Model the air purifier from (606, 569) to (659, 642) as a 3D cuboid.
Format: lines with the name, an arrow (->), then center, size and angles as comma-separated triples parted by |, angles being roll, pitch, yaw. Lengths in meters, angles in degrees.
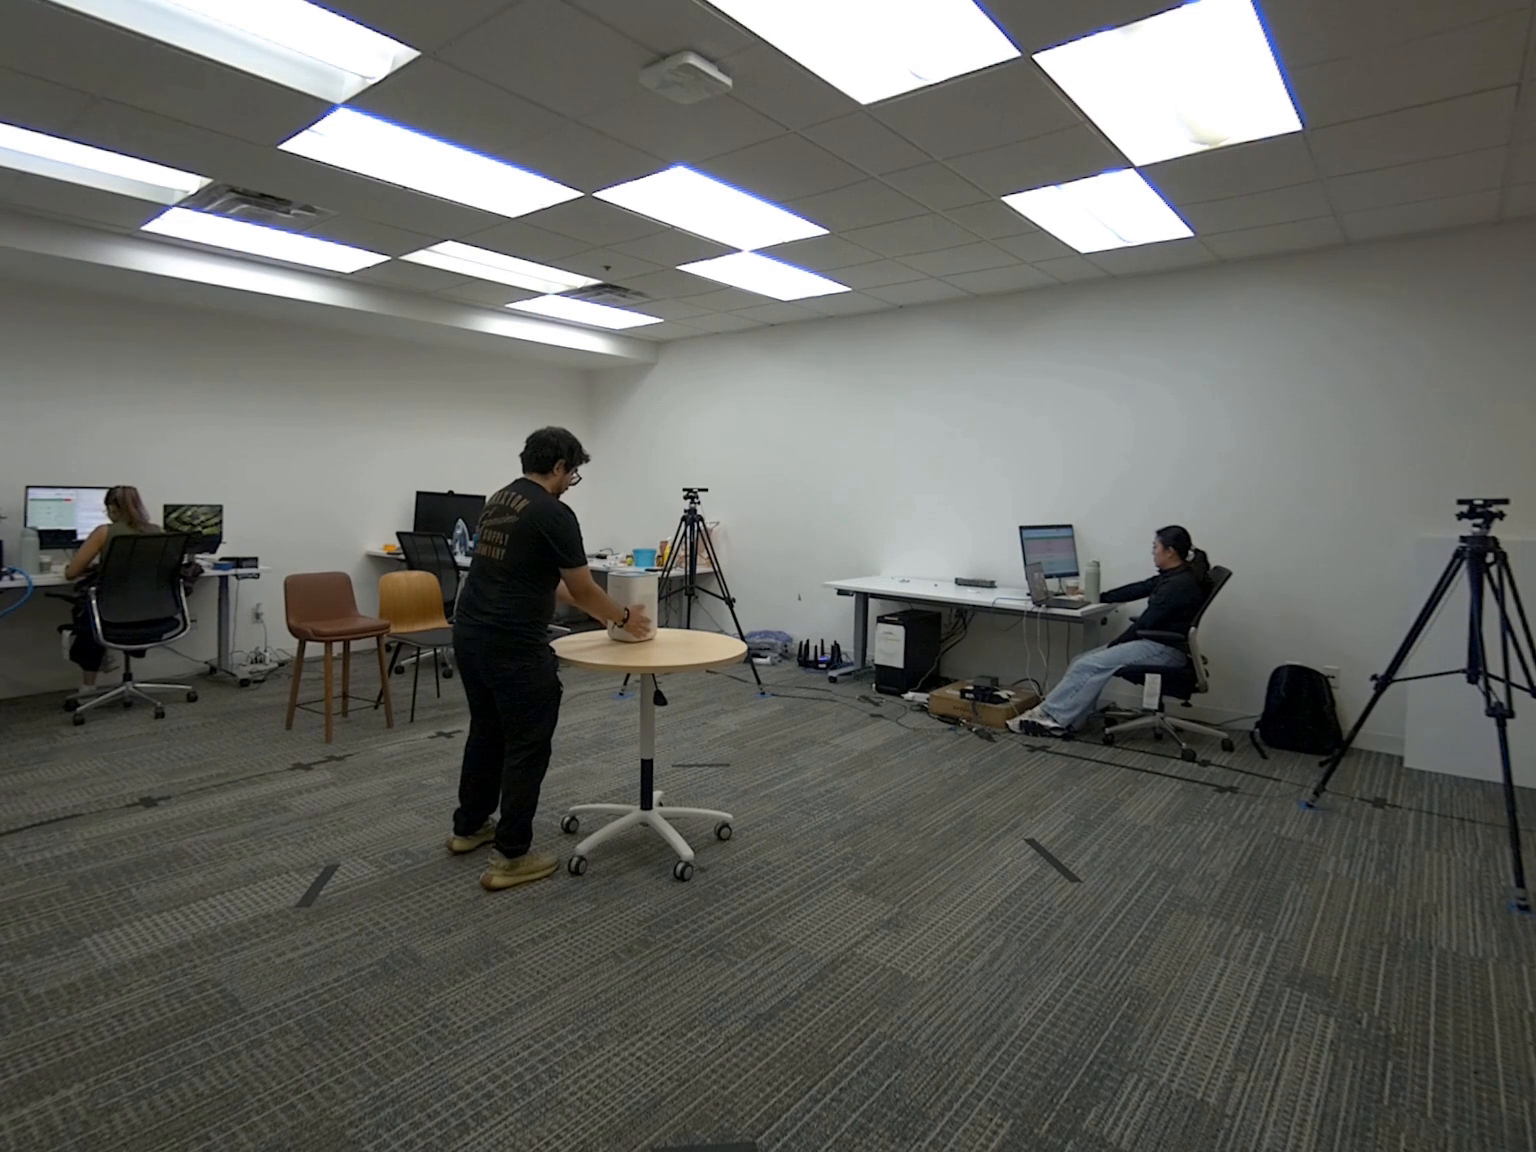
air purifier -> -0.558, 0.116, 3.406 | 0.176, 0.265, 0.167 | 3, 4, 33
